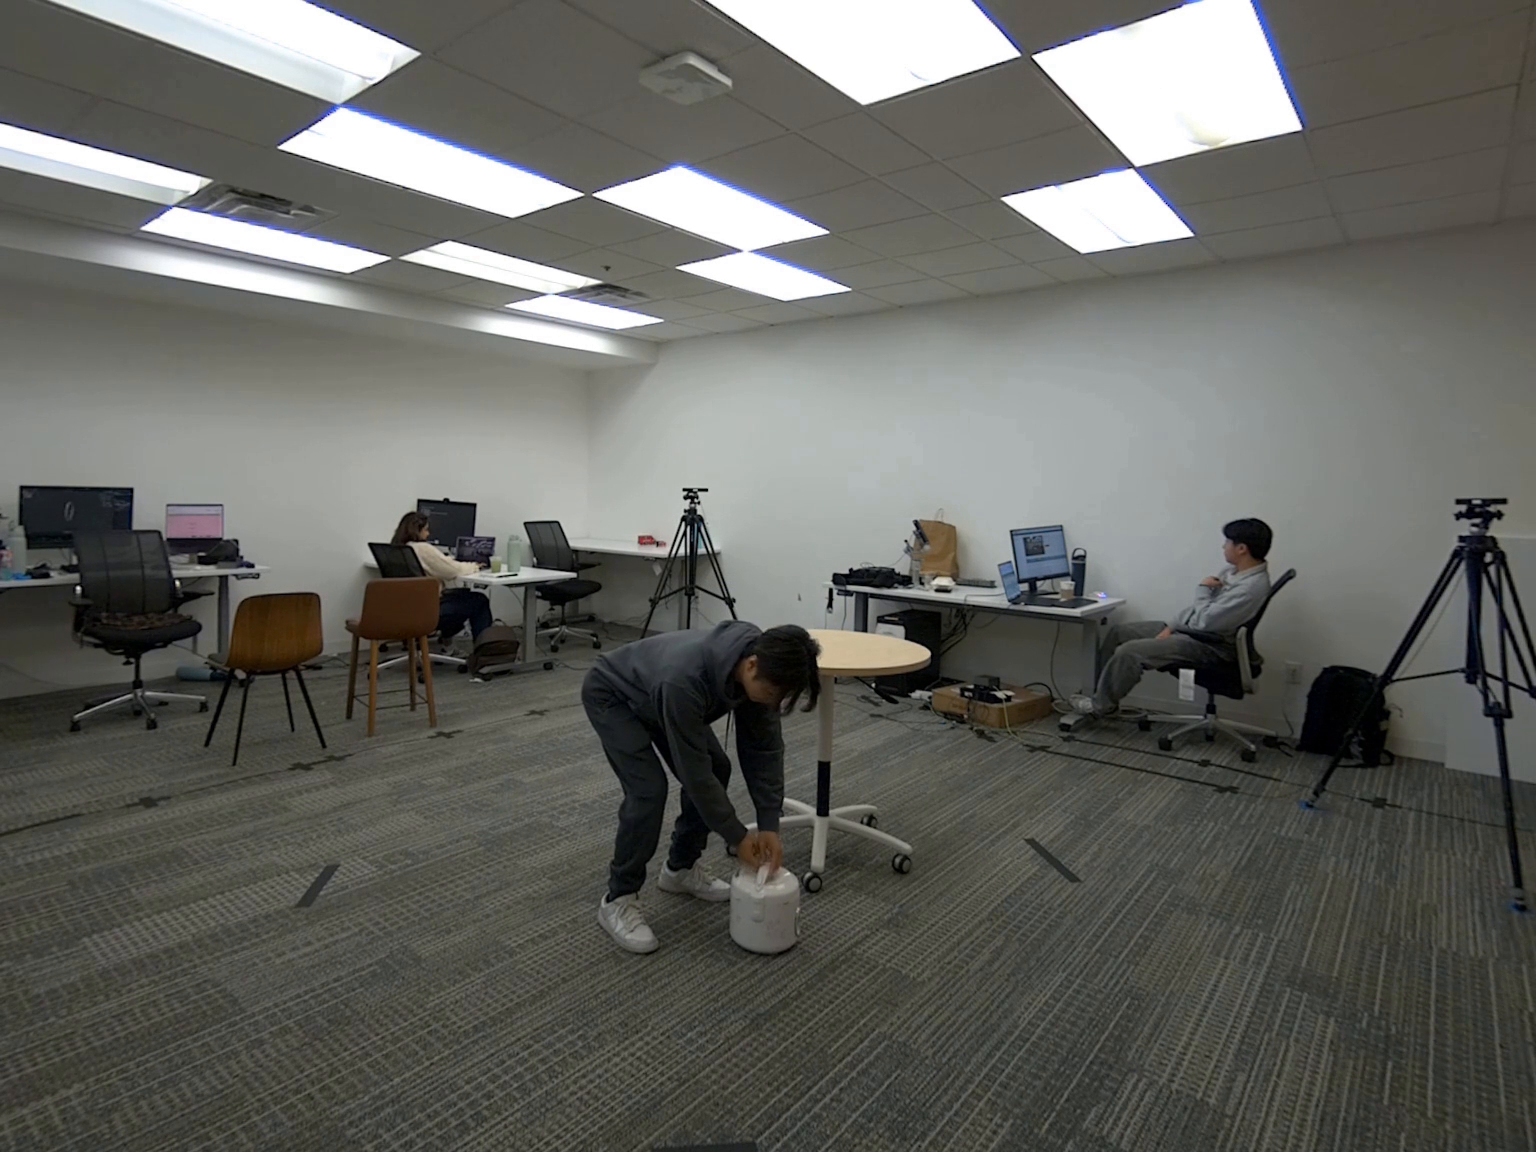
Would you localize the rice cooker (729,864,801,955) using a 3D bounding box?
[{"bbox_3d":[-0.015,1.009,2.615,0.221,0.232,0.217,2,3,17],"label":"rice cooker"}]
